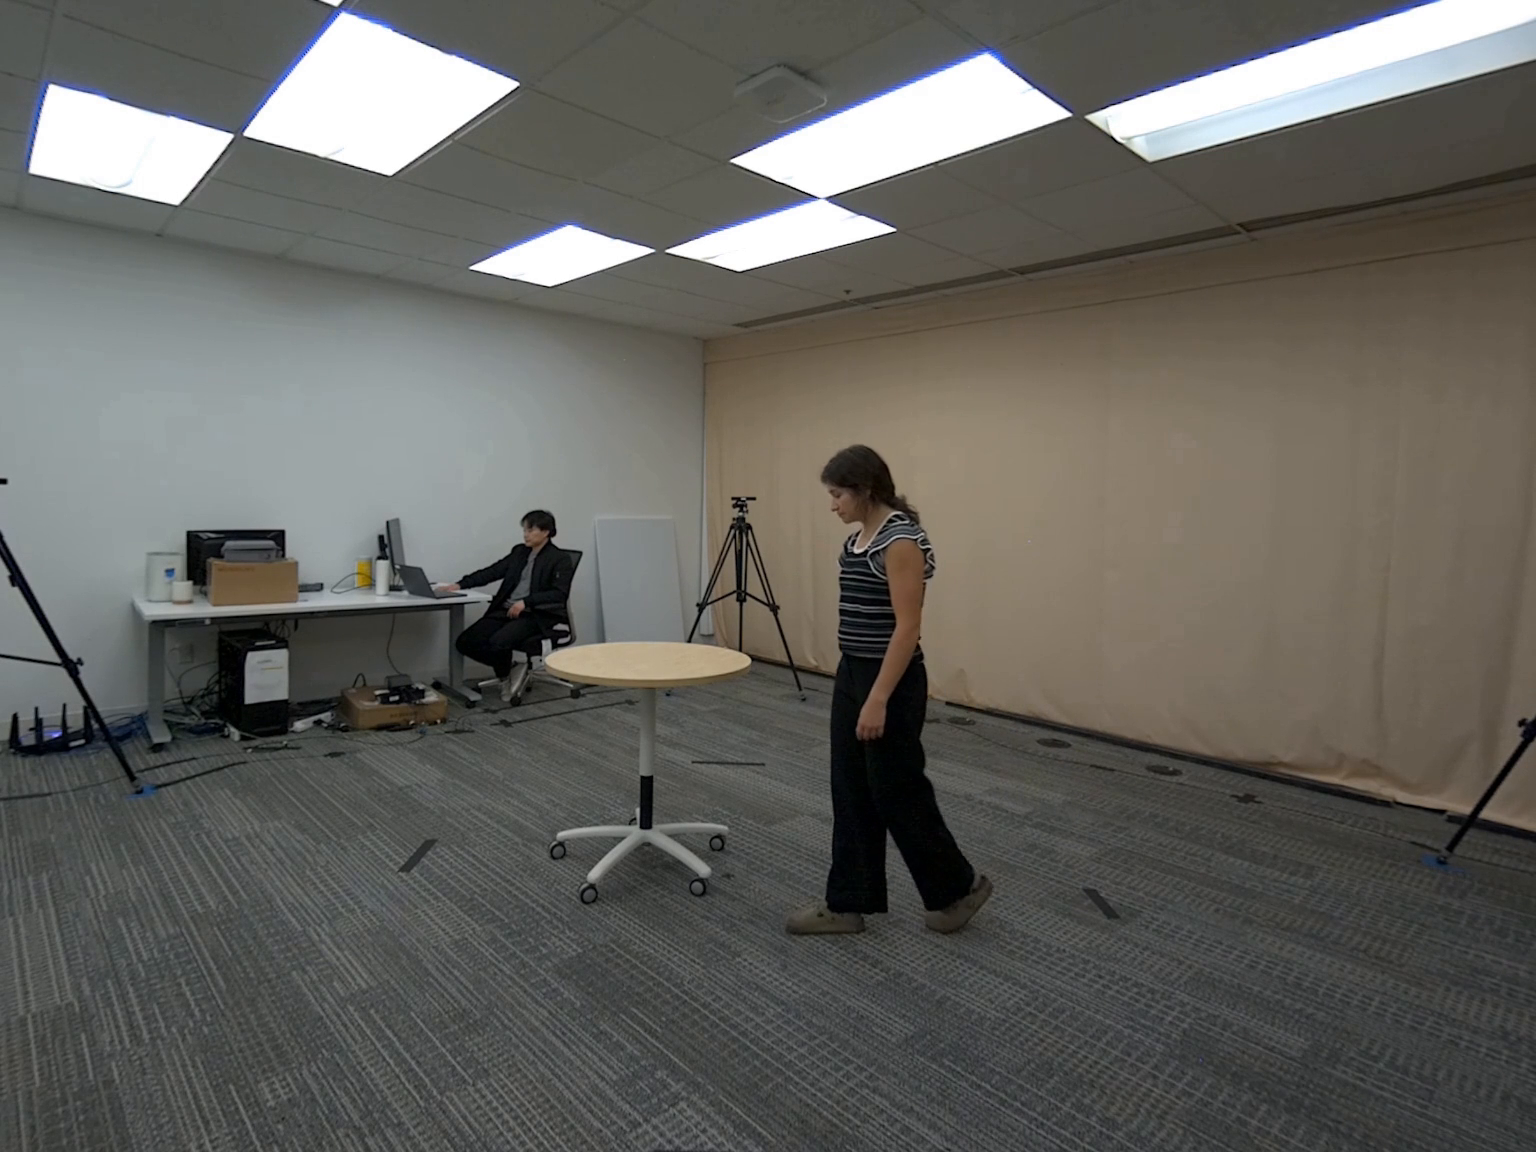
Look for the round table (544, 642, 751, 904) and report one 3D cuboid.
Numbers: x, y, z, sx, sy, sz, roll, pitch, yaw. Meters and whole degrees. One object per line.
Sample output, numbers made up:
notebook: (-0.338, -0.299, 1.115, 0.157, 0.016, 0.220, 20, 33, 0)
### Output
round table: (-0.459, 0.701, 3.153, 0.784, 0.784, 0.787, 1, 4, -1)
